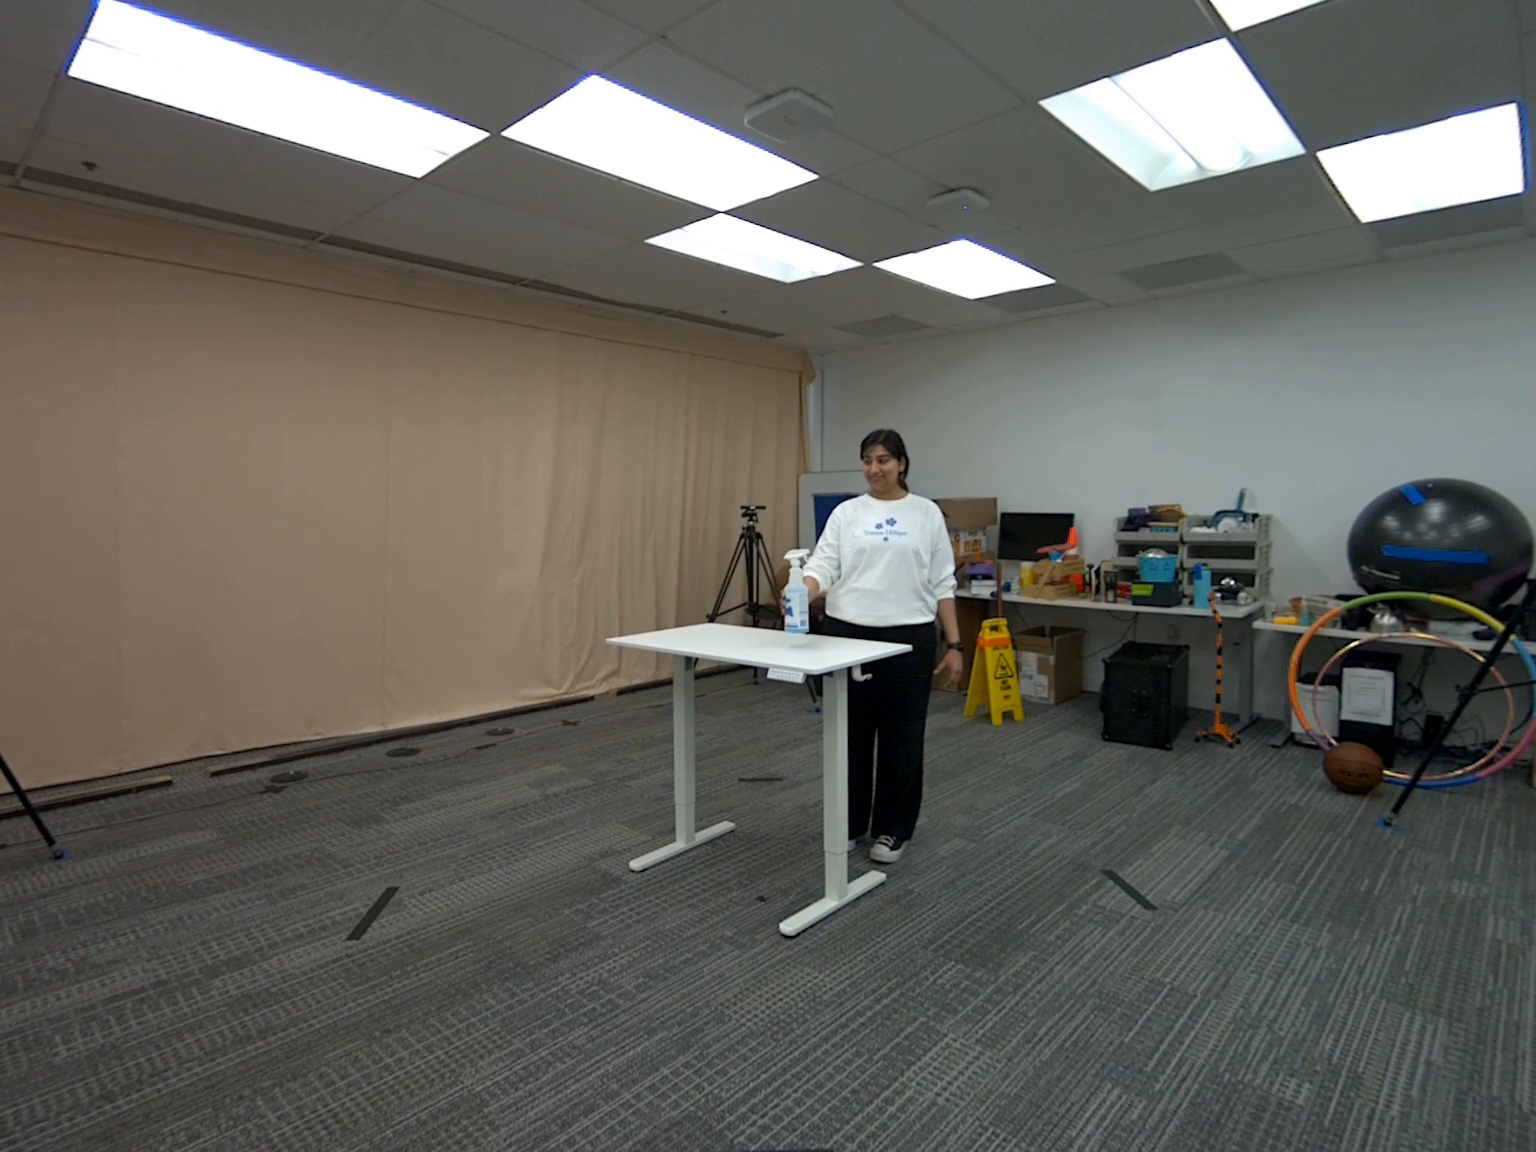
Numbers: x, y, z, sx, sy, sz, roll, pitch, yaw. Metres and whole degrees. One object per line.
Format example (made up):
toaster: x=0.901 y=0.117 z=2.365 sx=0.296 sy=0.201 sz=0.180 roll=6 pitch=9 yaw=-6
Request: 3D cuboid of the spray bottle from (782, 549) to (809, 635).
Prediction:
spray bottle: x=0.107 y=0.056 z=3.014 sx=0.092 sy=0.297 sz=0.085 roll=-2 pitch=0 yaw=29
